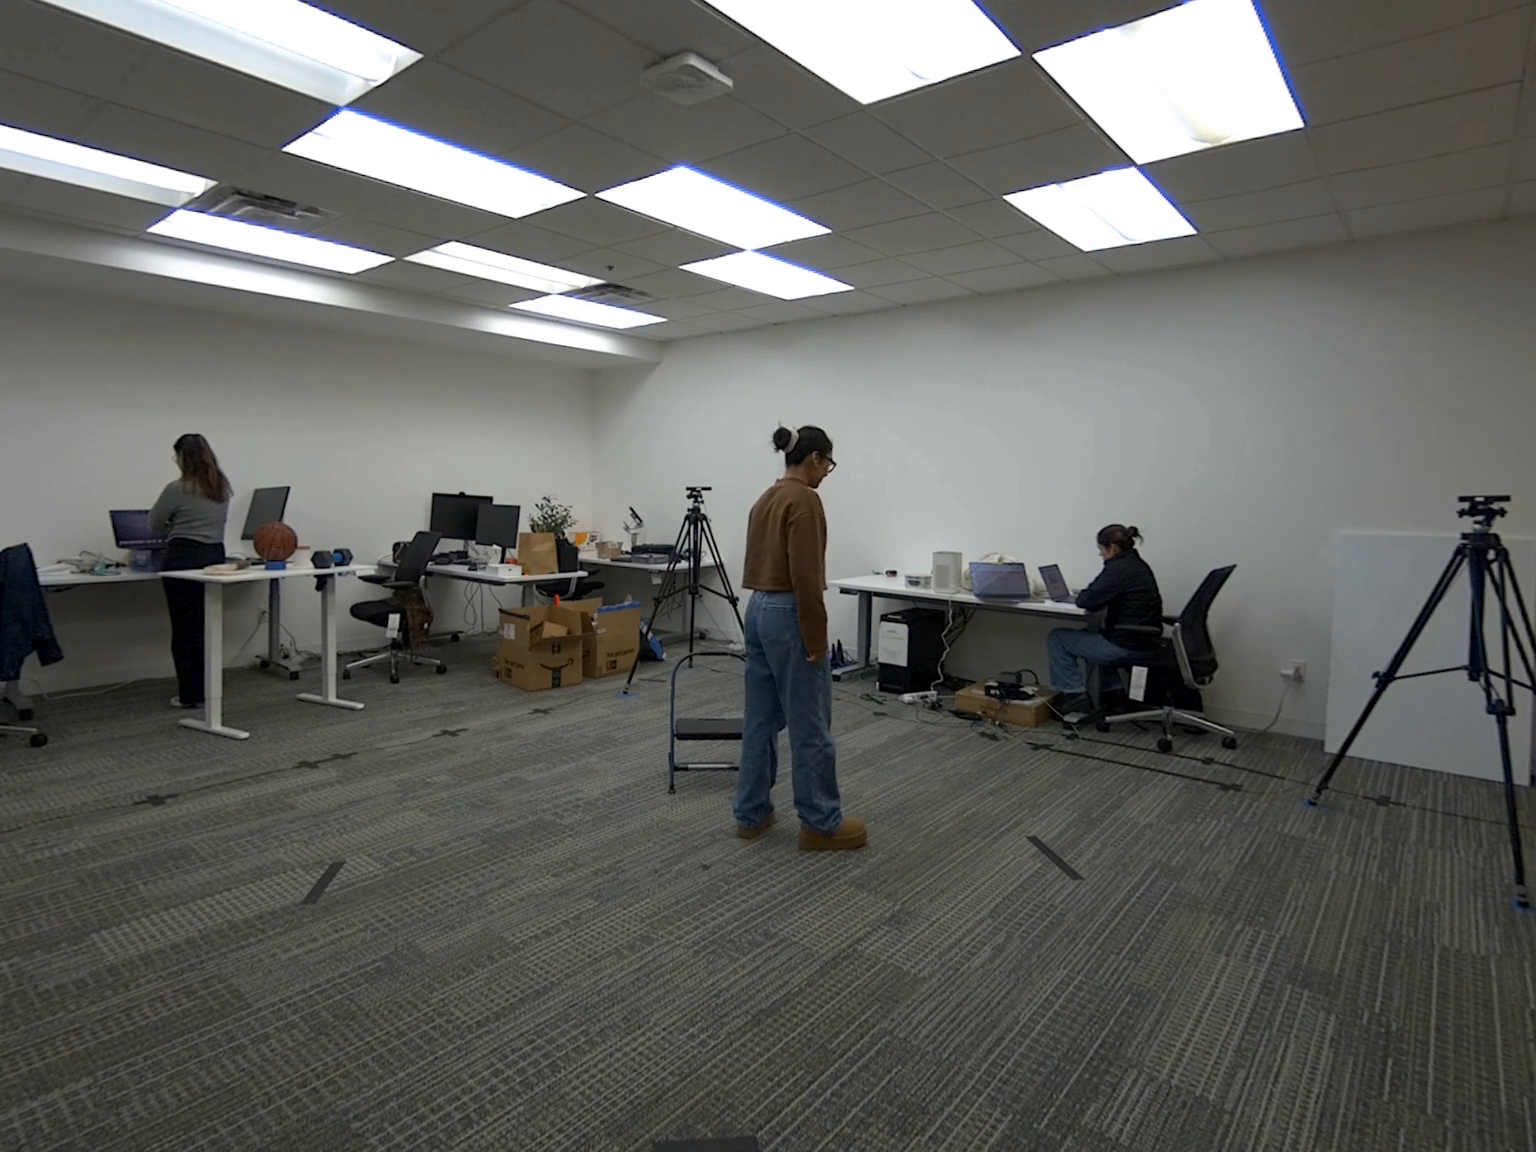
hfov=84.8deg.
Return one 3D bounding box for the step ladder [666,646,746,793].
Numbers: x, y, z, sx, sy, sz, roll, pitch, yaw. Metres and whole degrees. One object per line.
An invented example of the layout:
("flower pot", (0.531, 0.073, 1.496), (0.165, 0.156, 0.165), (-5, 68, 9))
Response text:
("step ladder", (-0.271, 0.671, 4.041), (0.428, 0.604, 0.352), (0, 4, -5))
